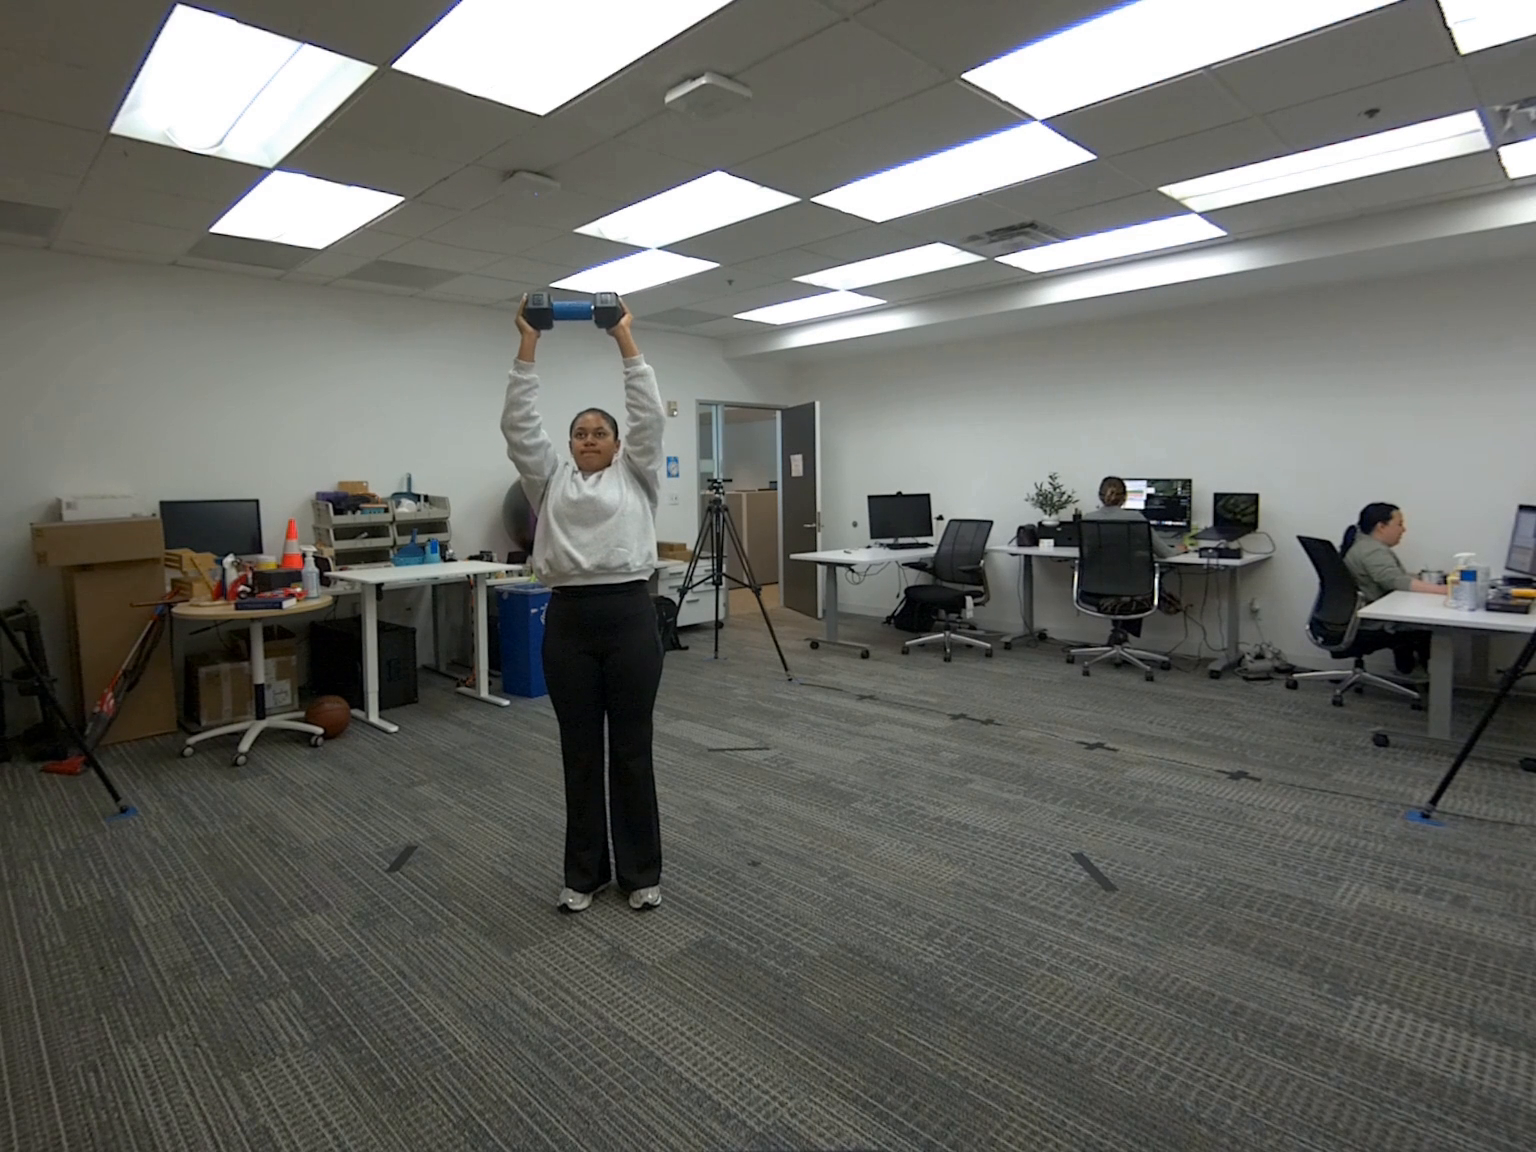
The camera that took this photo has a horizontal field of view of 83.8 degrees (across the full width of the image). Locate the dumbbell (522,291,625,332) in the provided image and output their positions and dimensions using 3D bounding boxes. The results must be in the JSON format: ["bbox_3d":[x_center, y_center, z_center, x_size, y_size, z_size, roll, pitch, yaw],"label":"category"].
[{"bbox_3d":[-0.612,-0.844,2.718,0.292,0.120,0.112,-3,40,-6],"label":"dumbbell"}]
